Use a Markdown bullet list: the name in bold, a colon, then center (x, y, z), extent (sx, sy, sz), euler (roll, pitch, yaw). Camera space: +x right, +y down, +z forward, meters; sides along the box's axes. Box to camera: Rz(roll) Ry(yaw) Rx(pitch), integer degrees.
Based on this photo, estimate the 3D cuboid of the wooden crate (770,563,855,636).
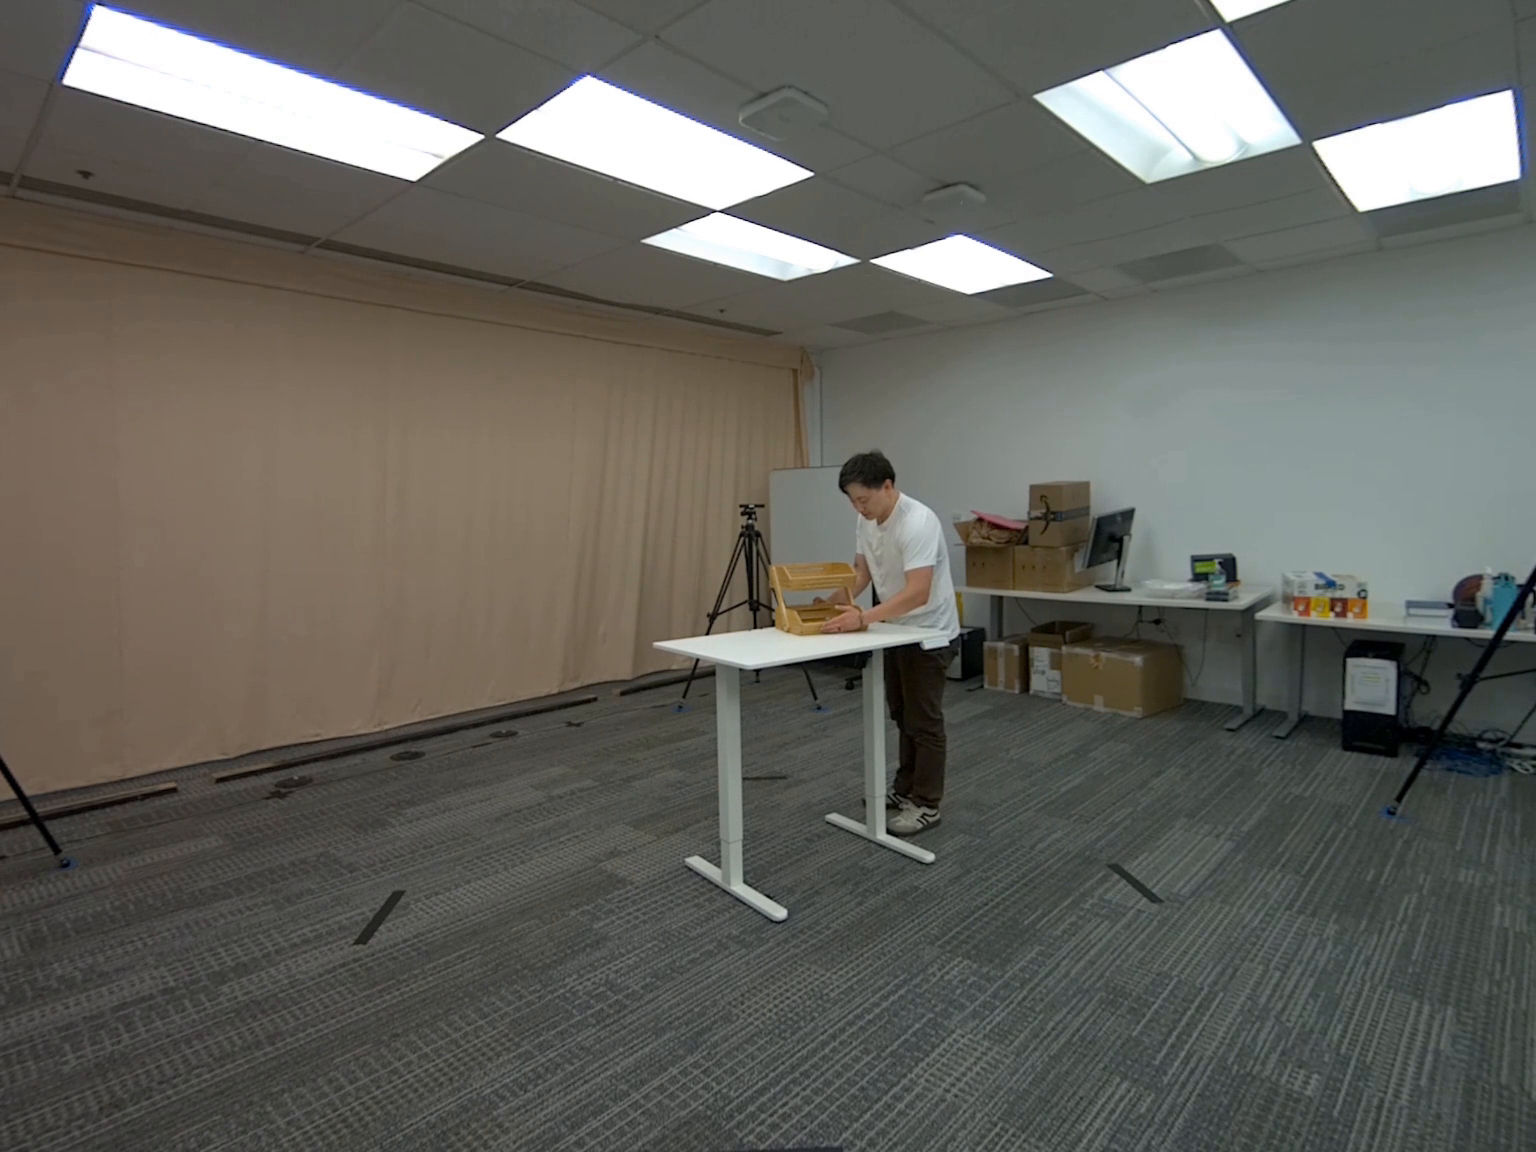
- **wooden crate**: center (0.215, 0.084, 3.424), extent (0.317, 0.273, 0.309), euler (-2, 4, -22)
